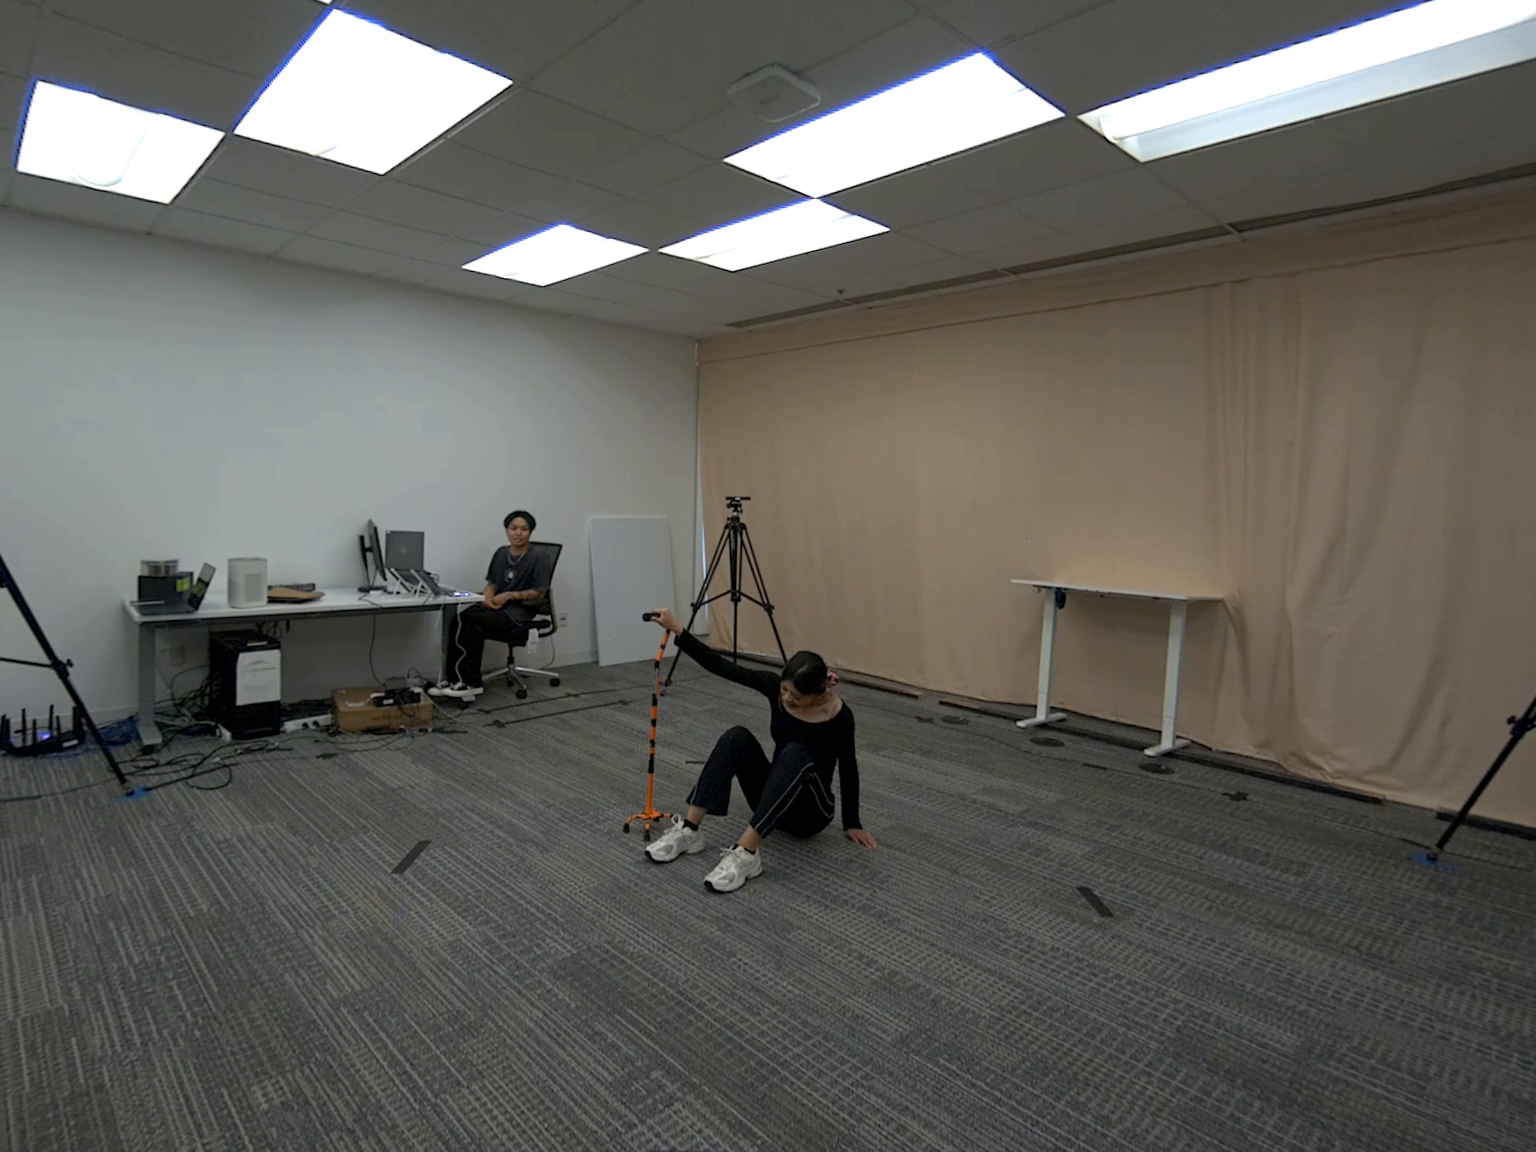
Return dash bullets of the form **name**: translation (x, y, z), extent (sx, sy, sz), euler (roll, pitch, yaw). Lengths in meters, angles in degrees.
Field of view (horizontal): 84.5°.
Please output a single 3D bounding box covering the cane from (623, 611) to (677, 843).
- **cane**: translation (-0.467, 0.600, 3.507), extent (0.155, 0.907, 0.201), euler (4, 2, 38)
